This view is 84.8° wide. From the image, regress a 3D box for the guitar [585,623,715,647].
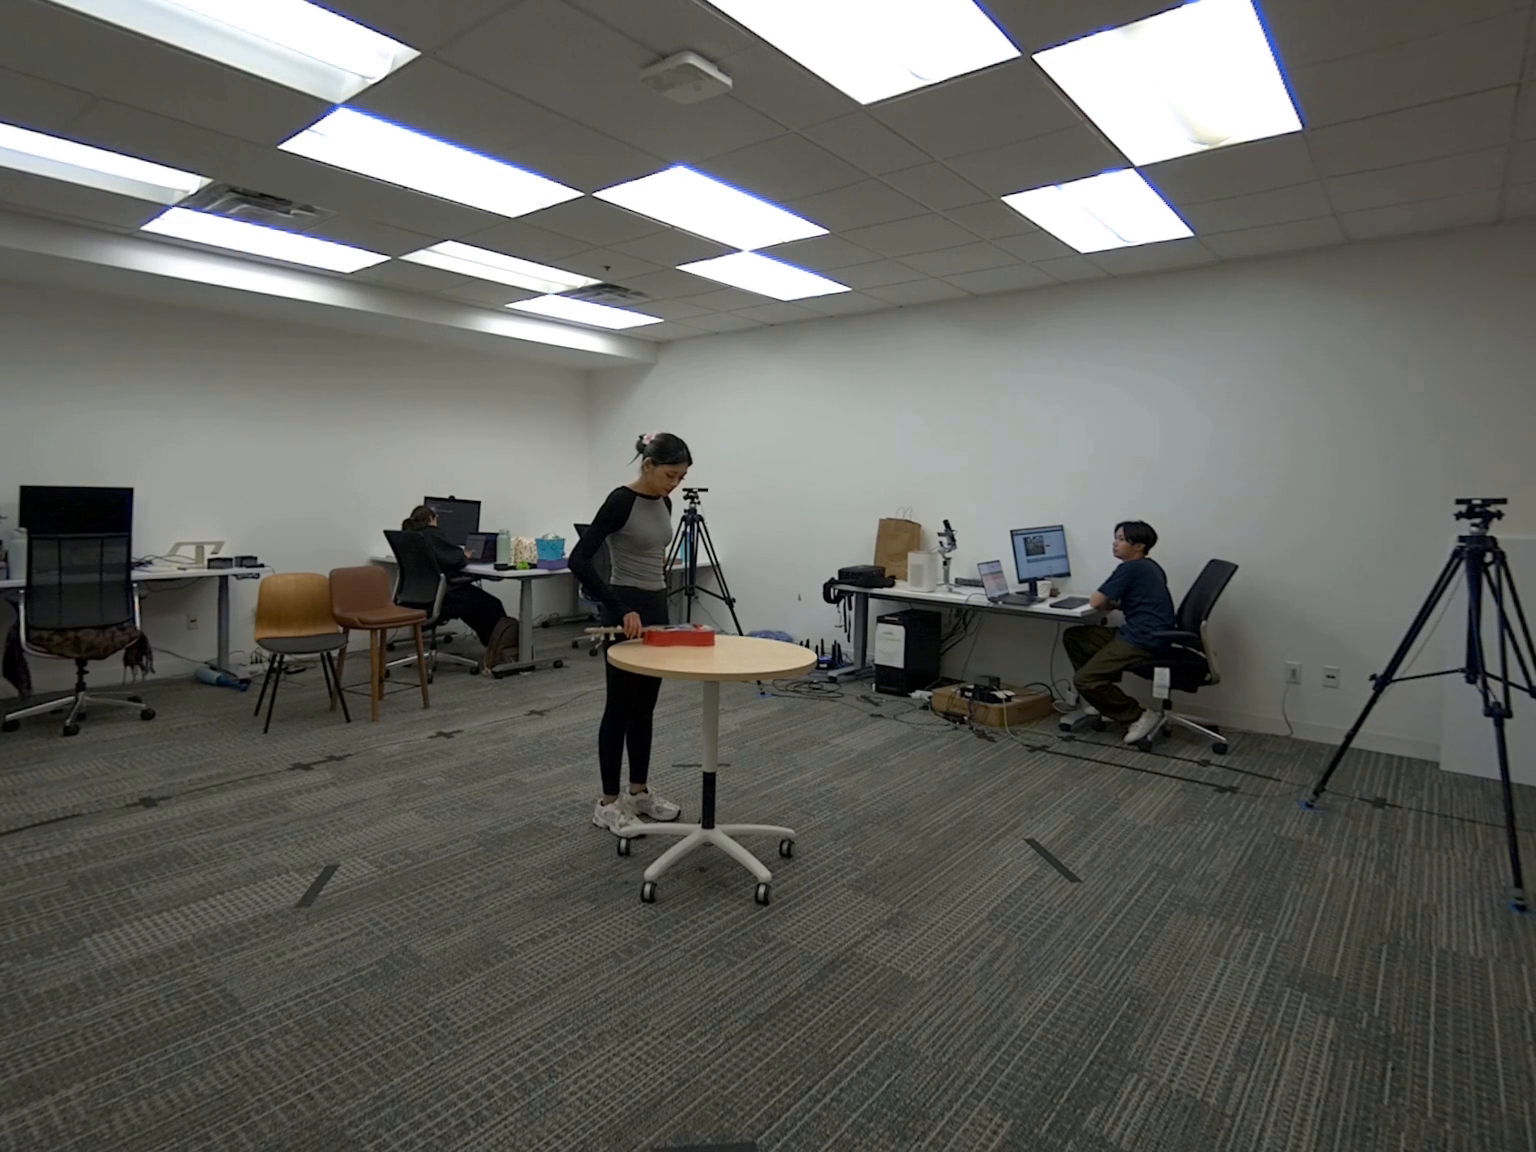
[{"bbox_3d":[-0.467,0.221,3.276,0.492,0.070,0.196,1,4,-11],"label":"guitar"}]
